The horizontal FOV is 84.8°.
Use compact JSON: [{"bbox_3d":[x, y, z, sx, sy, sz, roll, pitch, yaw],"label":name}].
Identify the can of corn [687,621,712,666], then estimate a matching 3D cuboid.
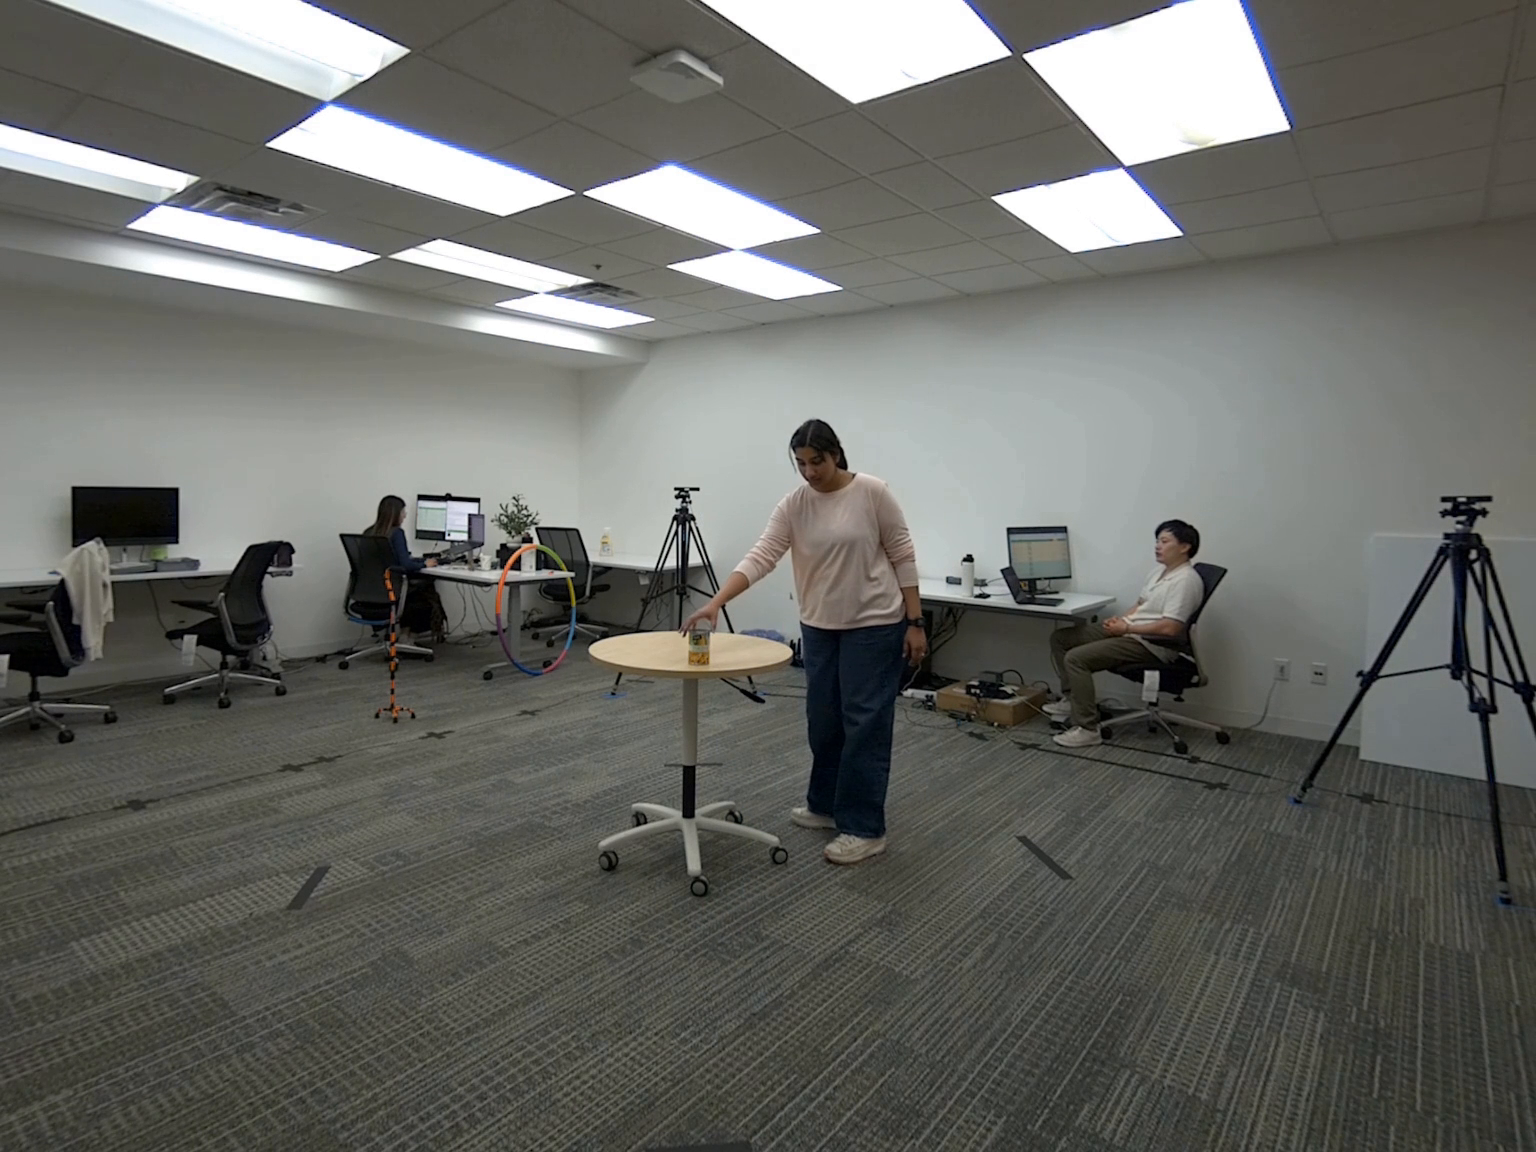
[{"bbox_3d":[-0.251,0.245,2.945,0.074,0.111,0.074,2,2,-2],"label":"can of corn"}]
